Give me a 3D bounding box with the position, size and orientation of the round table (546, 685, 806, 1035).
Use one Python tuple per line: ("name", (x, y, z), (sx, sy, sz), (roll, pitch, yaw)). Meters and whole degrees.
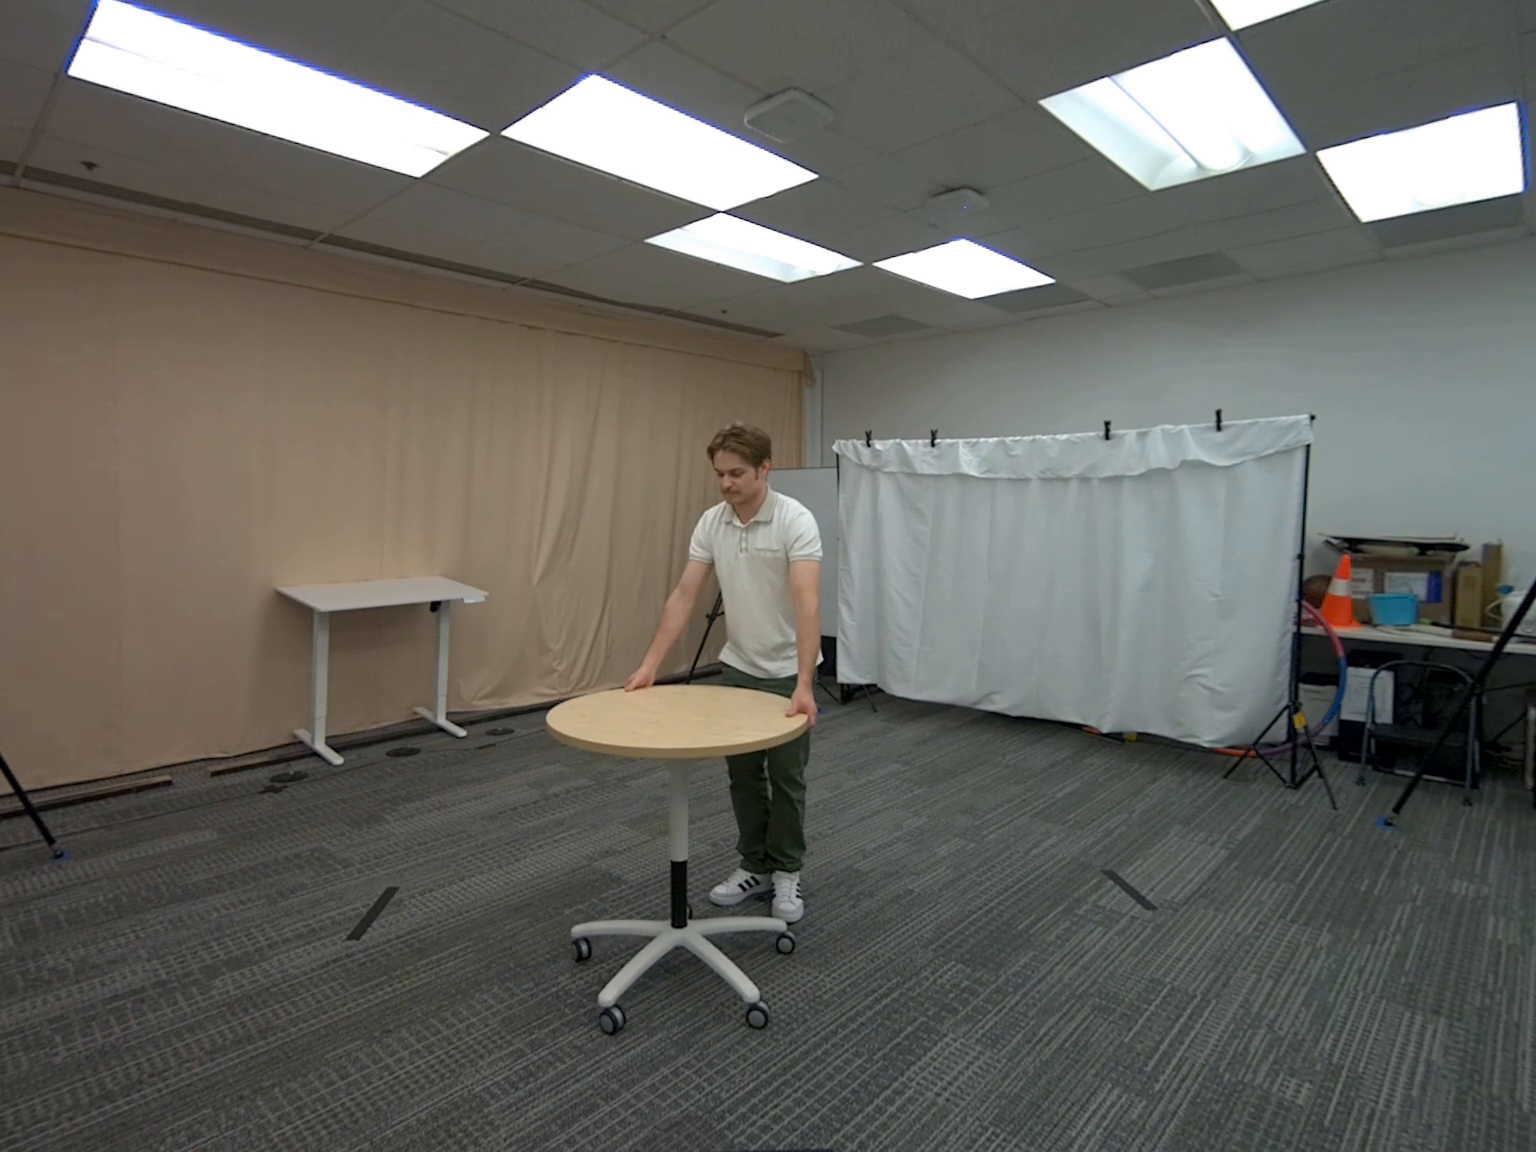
("round table", (-0.266, 0.796, 2.506), (0.763, 0.792, 0.766), (0, 3, -2))
